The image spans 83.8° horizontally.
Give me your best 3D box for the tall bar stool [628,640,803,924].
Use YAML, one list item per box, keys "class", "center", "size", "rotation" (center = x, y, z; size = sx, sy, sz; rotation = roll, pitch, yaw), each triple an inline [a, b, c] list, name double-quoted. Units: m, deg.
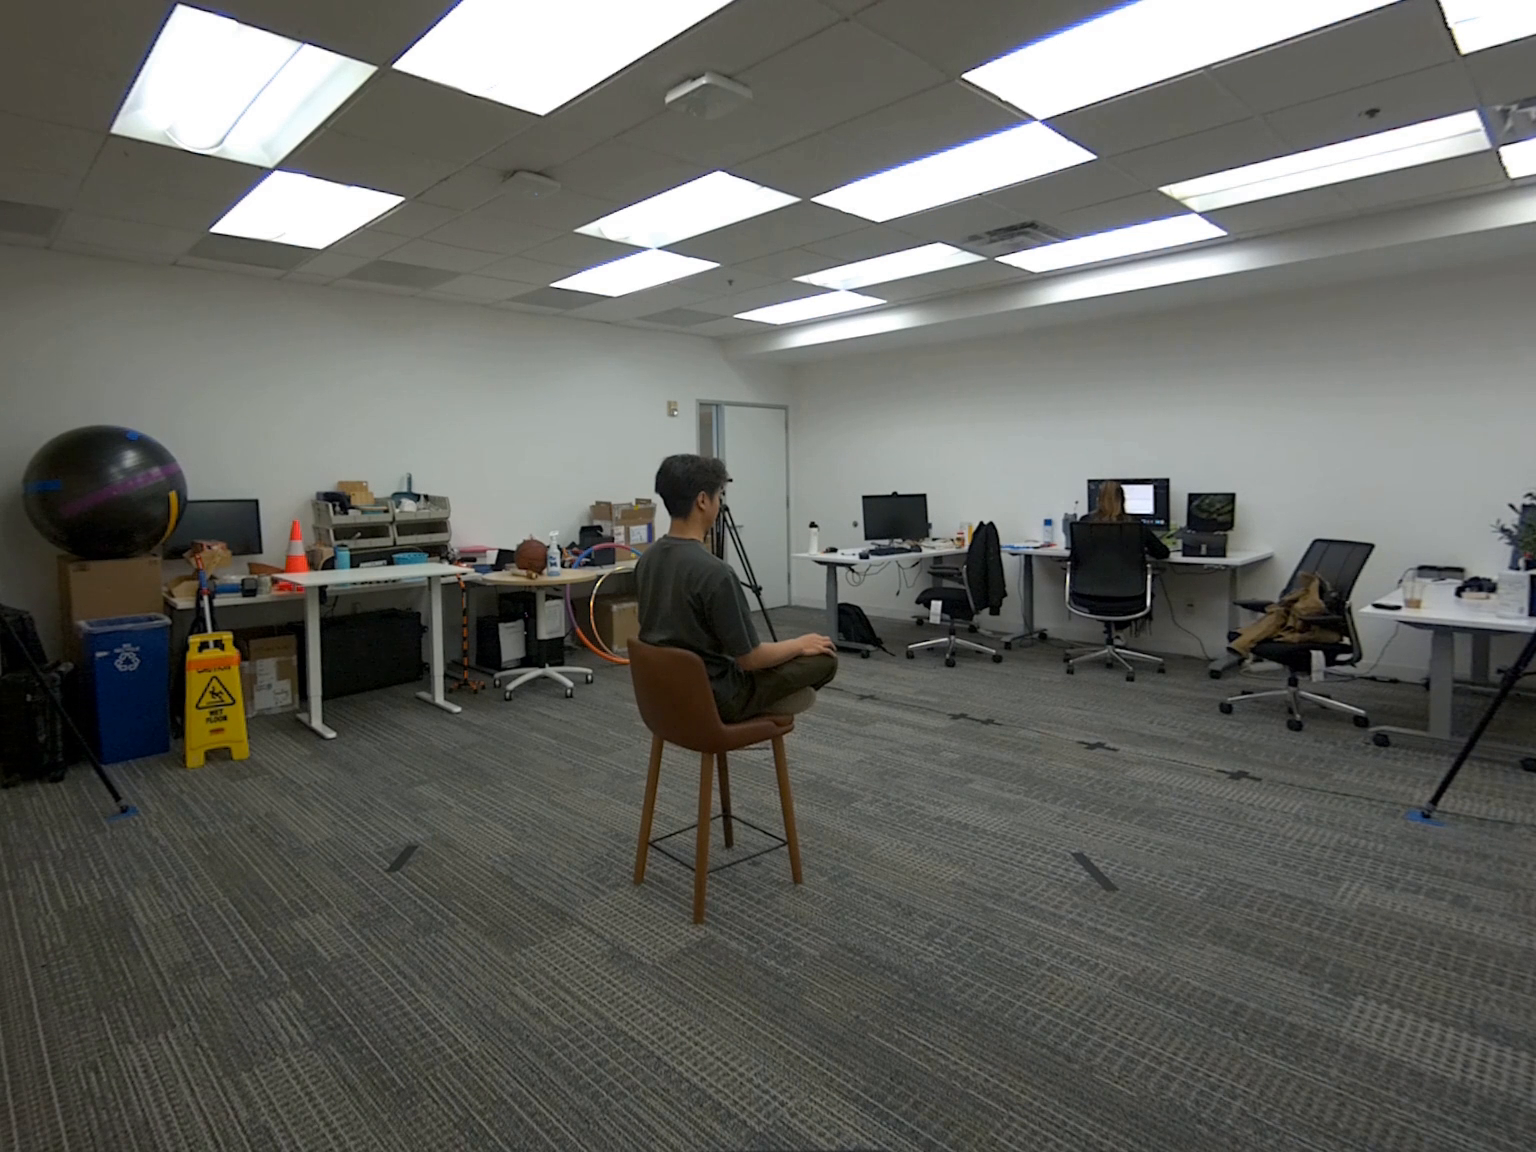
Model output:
- class: "tall bar stool"
  center: [-0.193, 0.632, 2.936]
  size: [0.456, 0.885, 0.470]
  rotation: [-8, 8, -40]
